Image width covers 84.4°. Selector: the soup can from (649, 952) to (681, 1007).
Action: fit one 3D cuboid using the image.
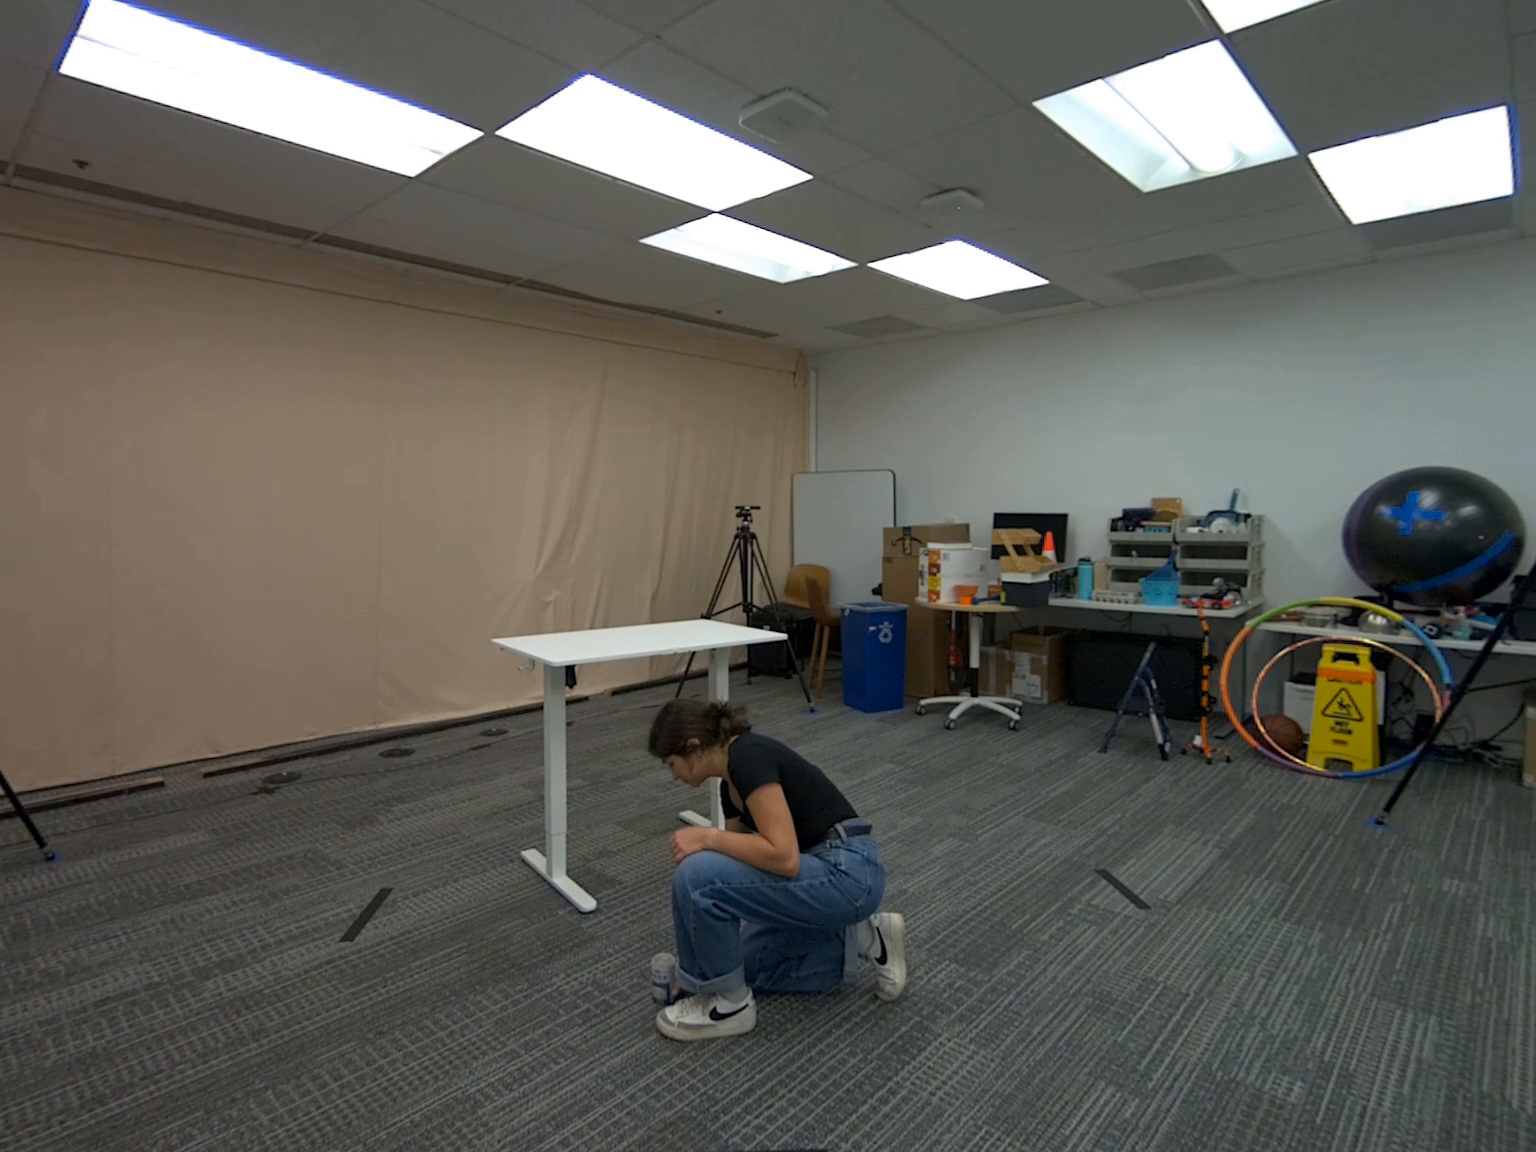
[{"bbox_3d":[-0.296,1.138,2.386,0.067,0.121,0.067,2,3,-2],"label":"soup can"}]
